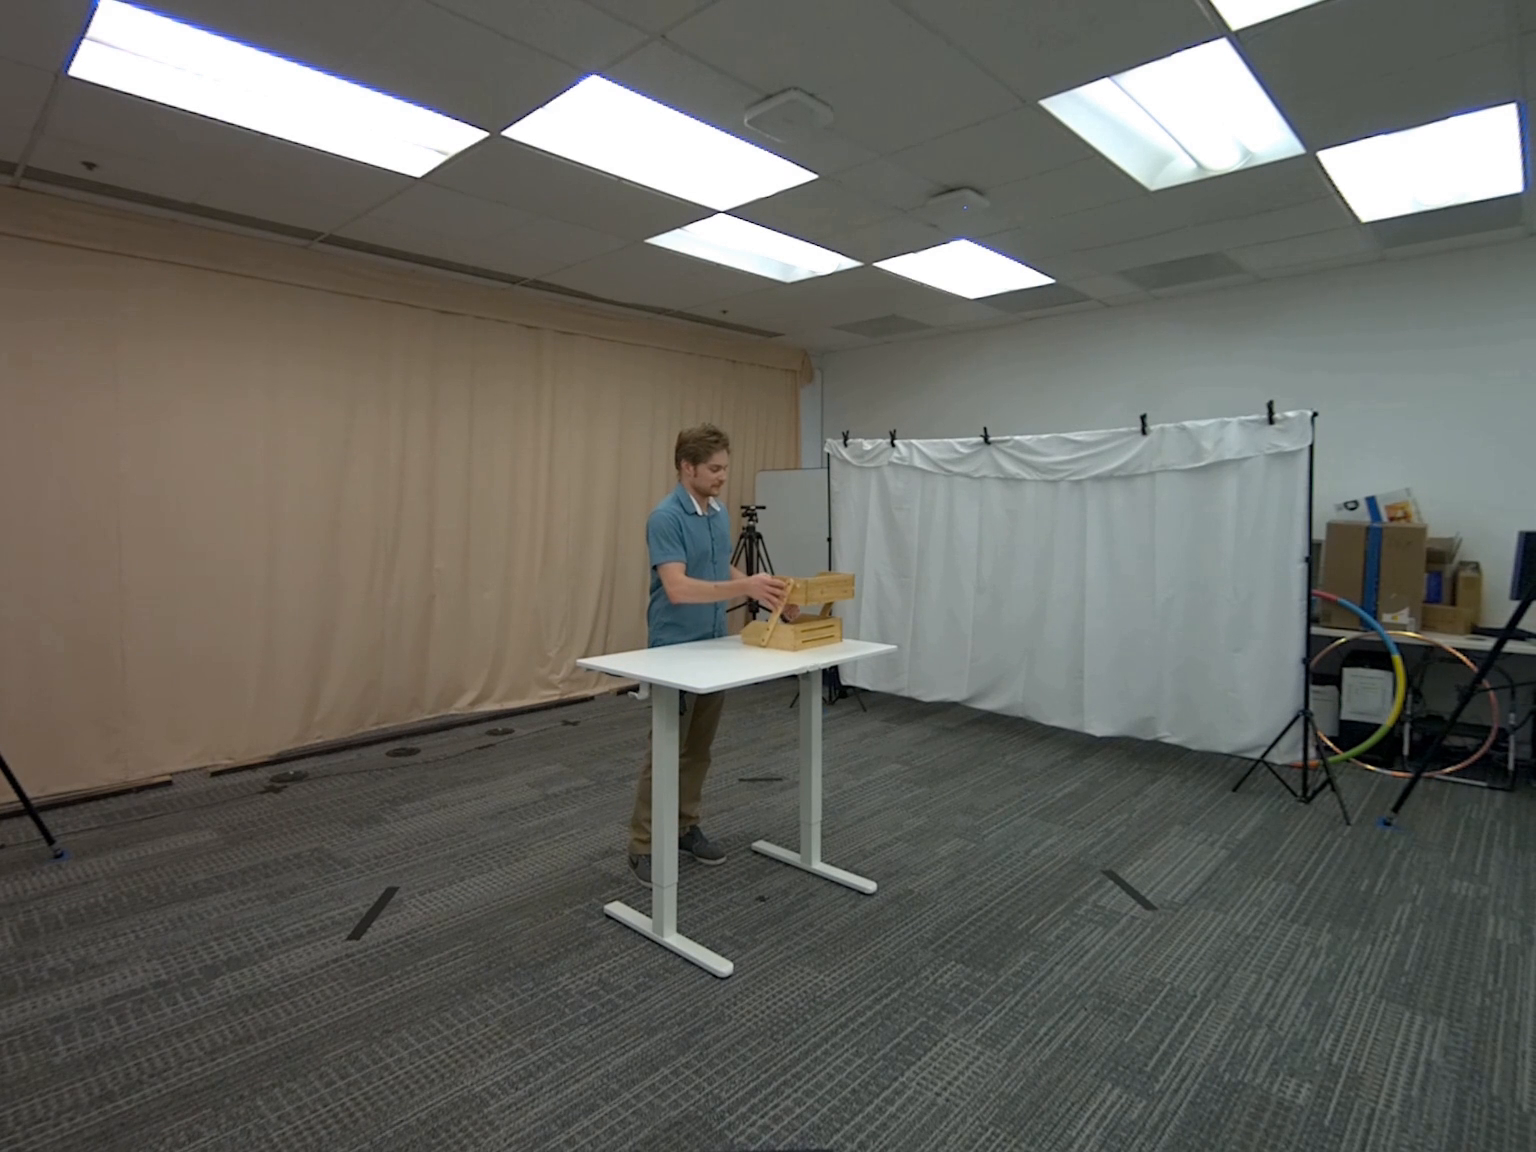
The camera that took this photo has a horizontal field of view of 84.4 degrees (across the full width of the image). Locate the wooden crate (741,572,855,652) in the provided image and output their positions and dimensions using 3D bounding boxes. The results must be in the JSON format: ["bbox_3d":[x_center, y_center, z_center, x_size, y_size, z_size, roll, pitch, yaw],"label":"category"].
[{"bbox_3d":[0.109,0.119,3.109,0.312,0.272,0.315,4,6,41],"label":"wooden crate"}]
